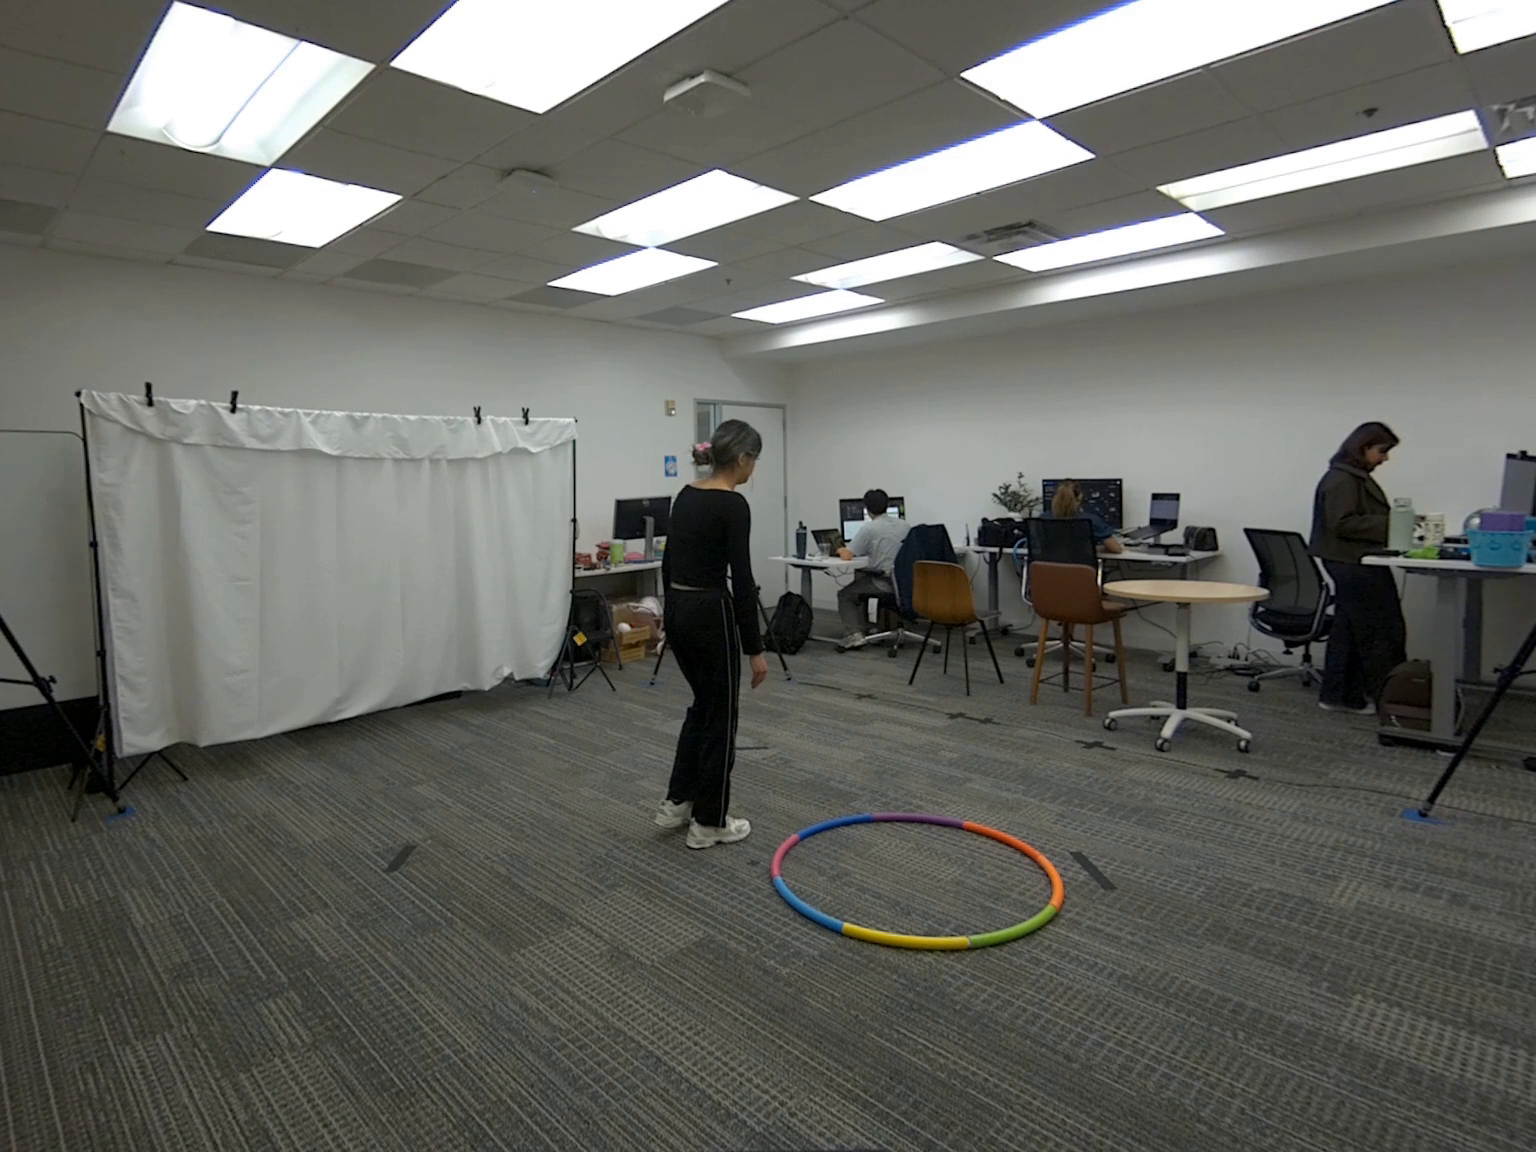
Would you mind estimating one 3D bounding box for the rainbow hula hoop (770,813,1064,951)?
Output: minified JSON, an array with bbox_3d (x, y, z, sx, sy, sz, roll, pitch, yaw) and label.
[{"bbox_3d":[0.500,1.017,2.988,0.978,0.035,0.984,-2,6,-2],"label":"rainbow hula hoop"}]
